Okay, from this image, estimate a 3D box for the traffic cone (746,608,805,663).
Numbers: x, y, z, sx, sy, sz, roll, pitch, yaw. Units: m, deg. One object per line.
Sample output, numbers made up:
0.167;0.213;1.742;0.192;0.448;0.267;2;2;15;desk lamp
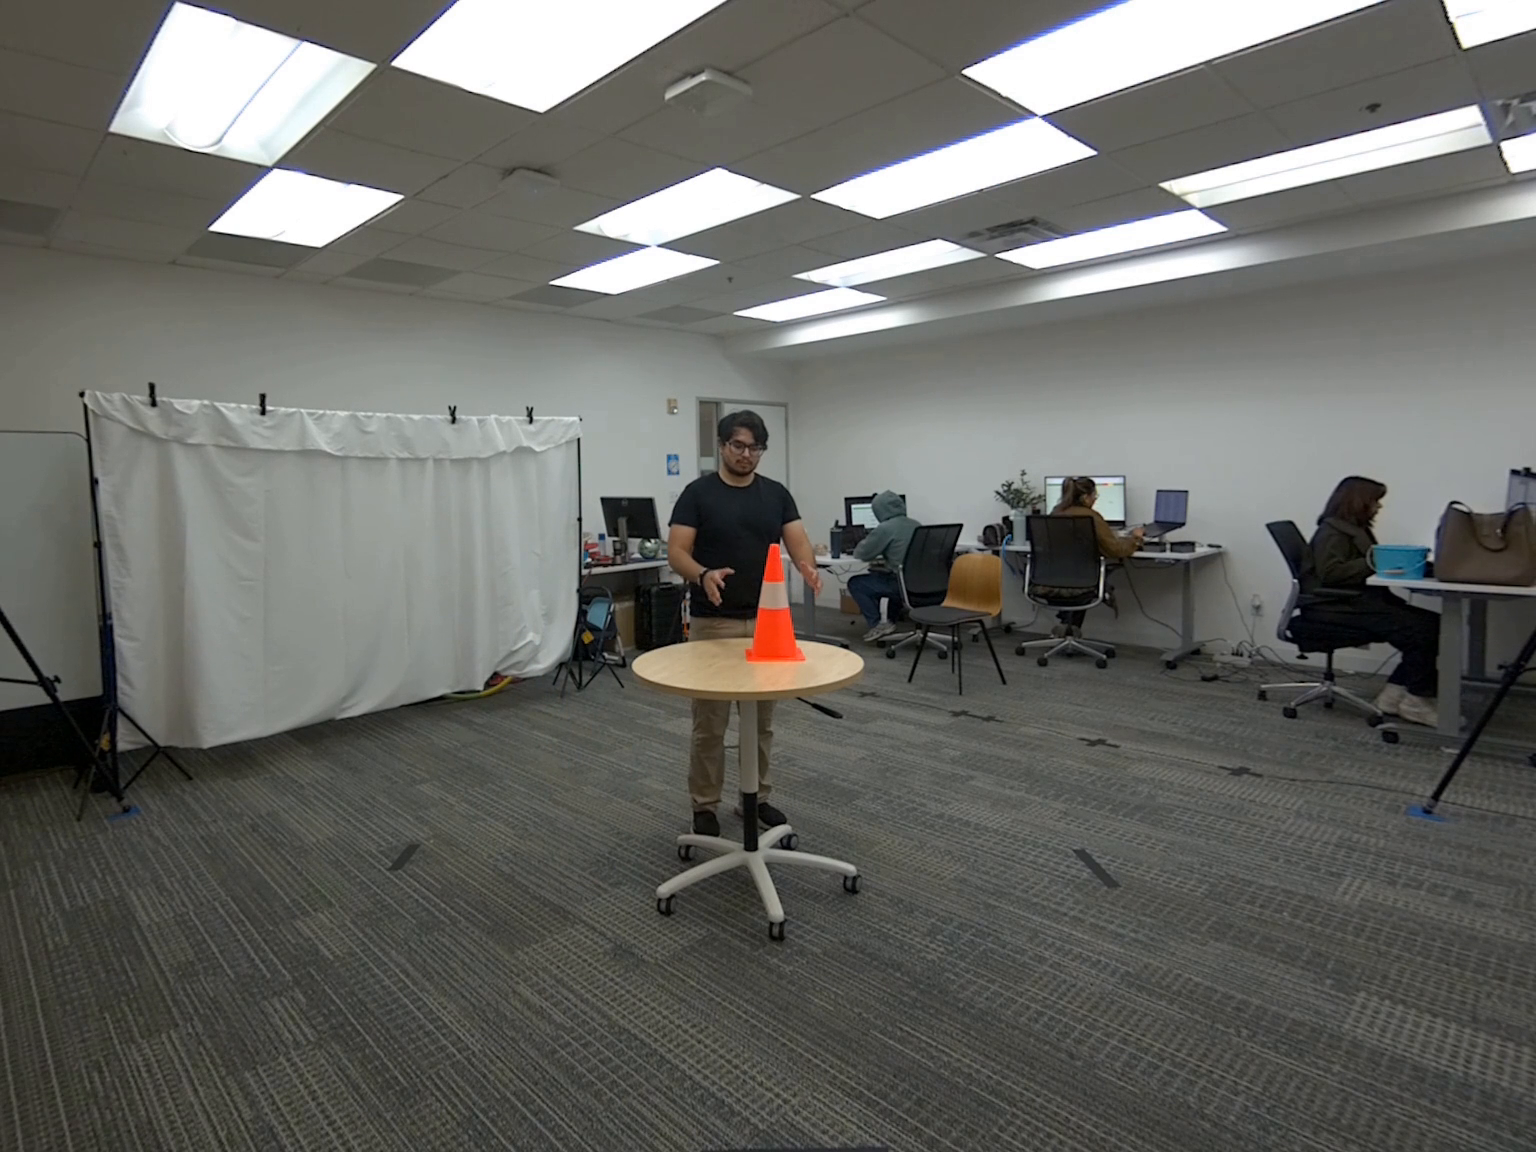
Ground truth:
0.021;0.088;2.912;0.202;0.381;0.208;-2;7;-8;traffic cone
